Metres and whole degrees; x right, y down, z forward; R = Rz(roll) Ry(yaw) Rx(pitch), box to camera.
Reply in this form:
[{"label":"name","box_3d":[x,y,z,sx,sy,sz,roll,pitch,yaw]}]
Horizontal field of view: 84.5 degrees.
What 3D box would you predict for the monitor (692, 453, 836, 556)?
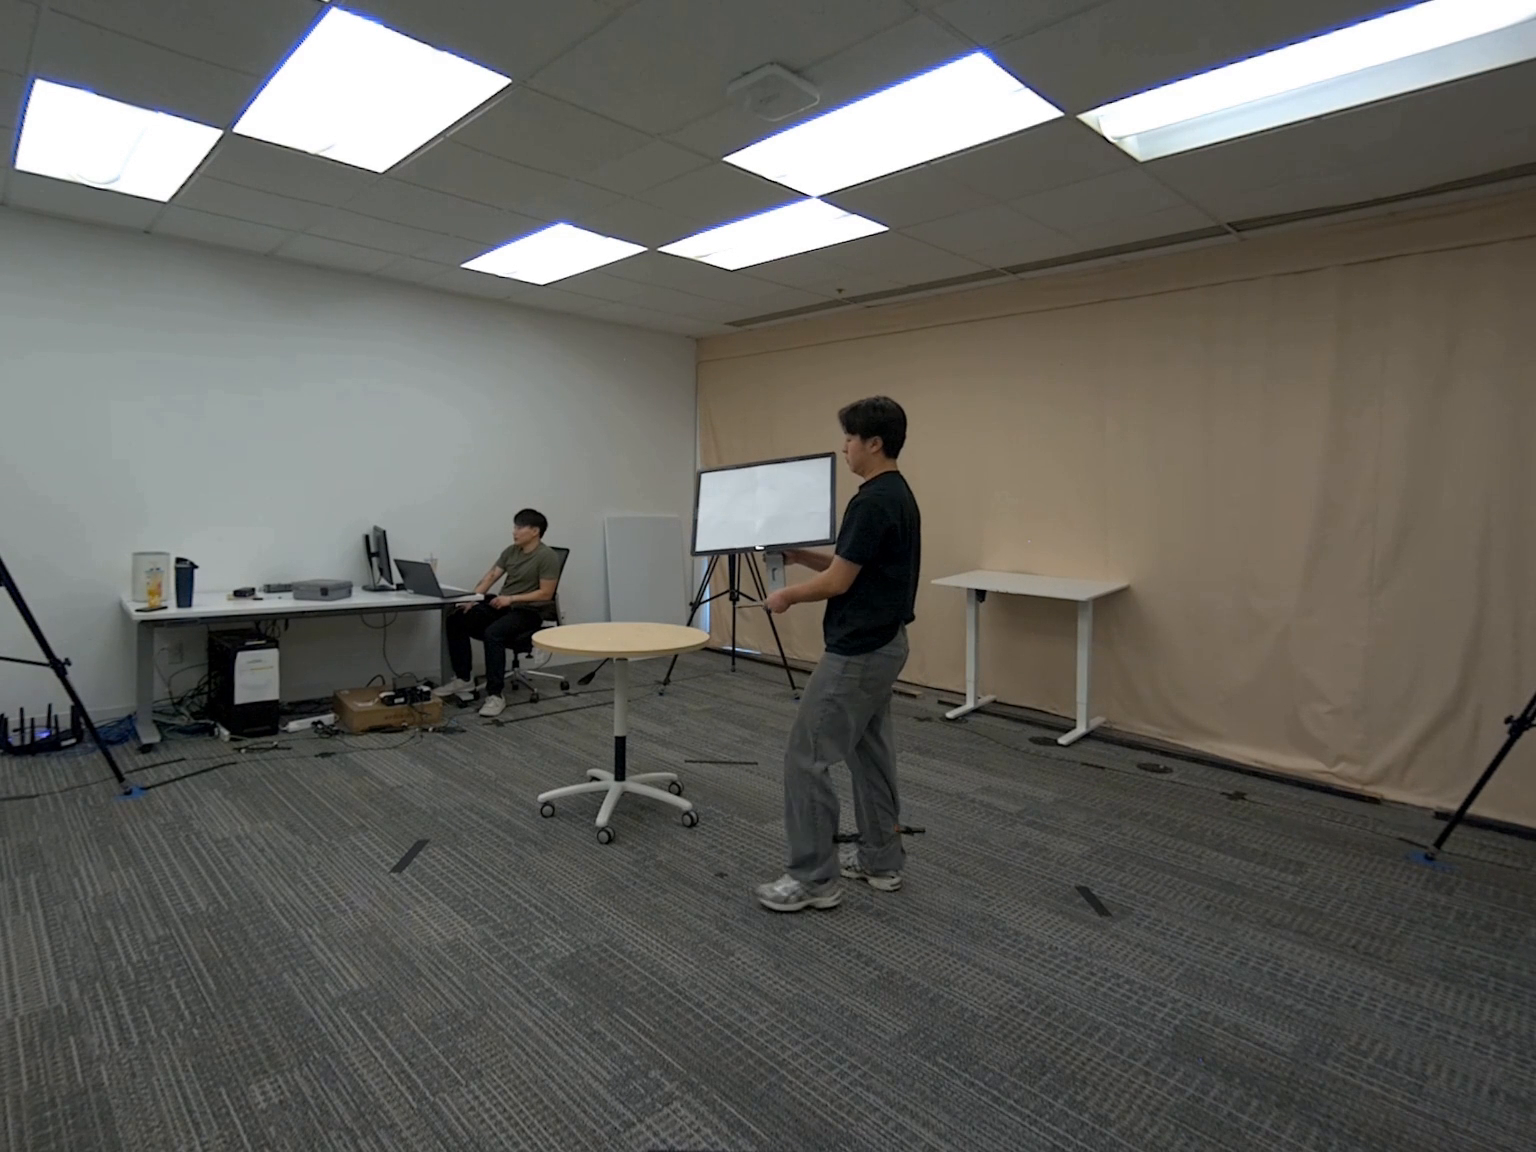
[{"label":"monitor","box_3d":[-0.006,-0.158,3.155,0.571,0.568,0.217,-6,-6,24]}]
